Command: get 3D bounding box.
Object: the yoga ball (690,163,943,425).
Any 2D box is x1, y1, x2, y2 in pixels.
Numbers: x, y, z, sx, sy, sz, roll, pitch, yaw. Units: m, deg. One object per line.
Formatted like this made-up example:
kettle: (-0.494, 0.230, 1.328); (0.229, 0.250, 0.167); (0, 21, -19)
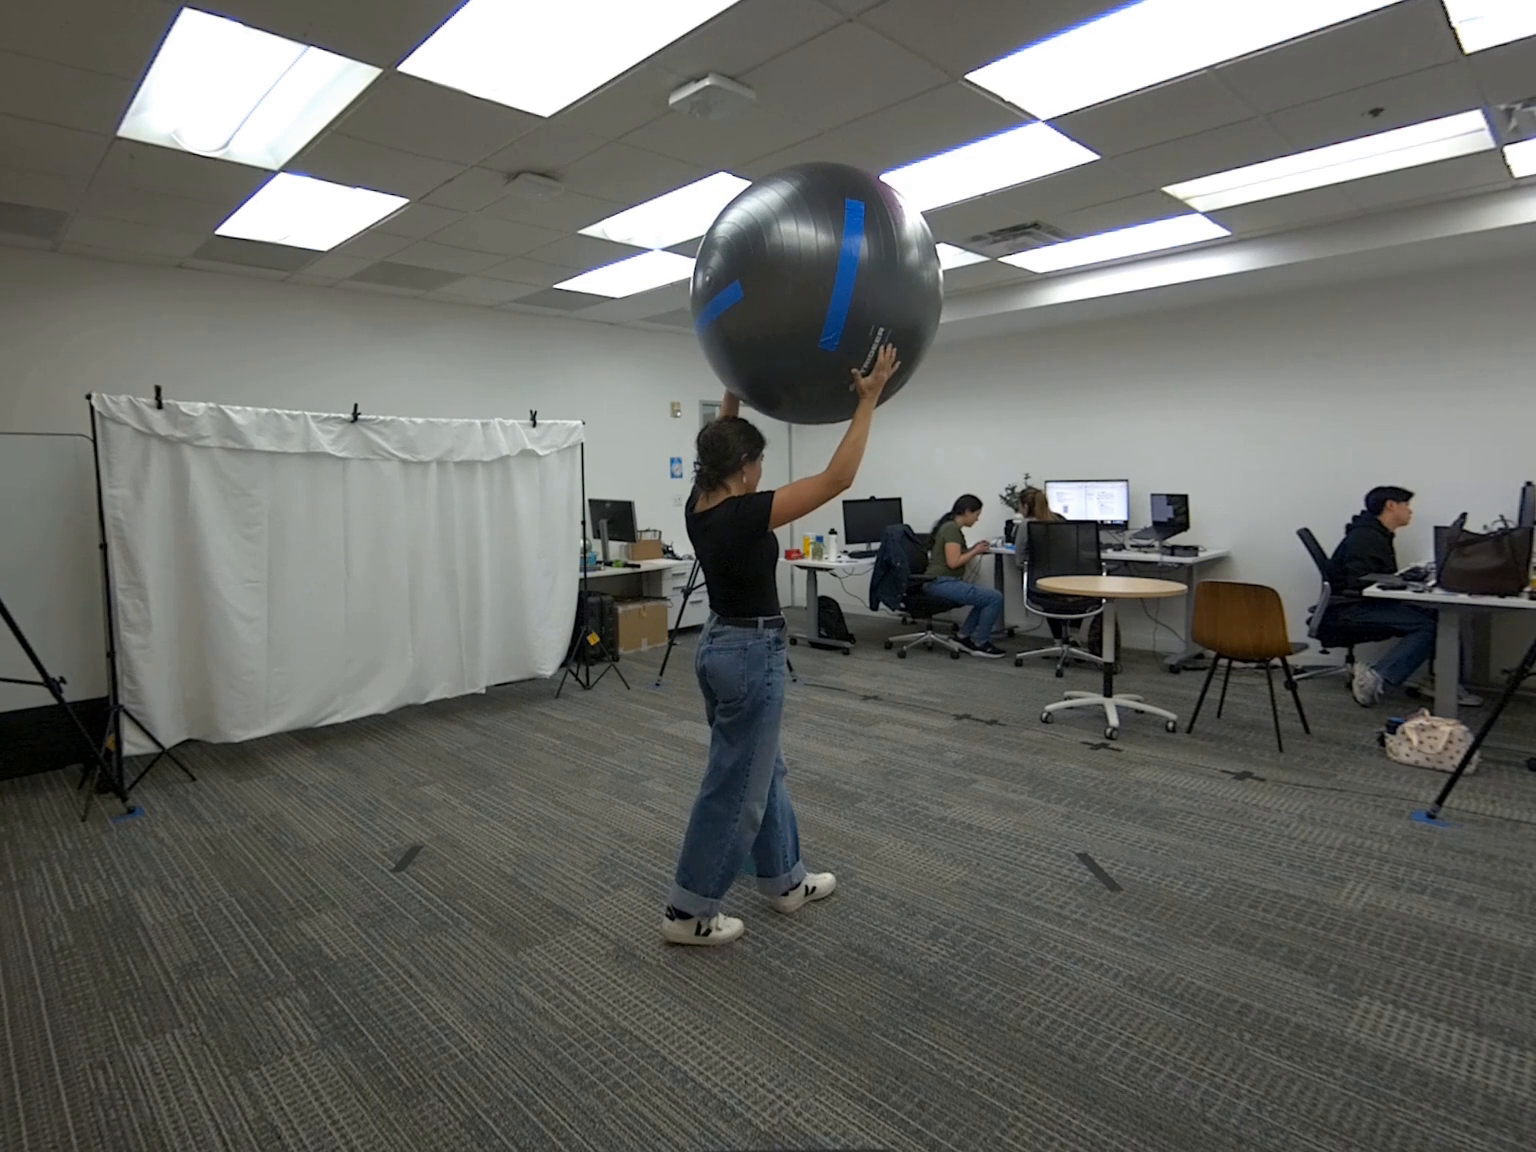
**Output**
yoga ball: (0.145, -0.841, 2.590); (0.757, 0.755, 0.762); (-1, 5, -2)
